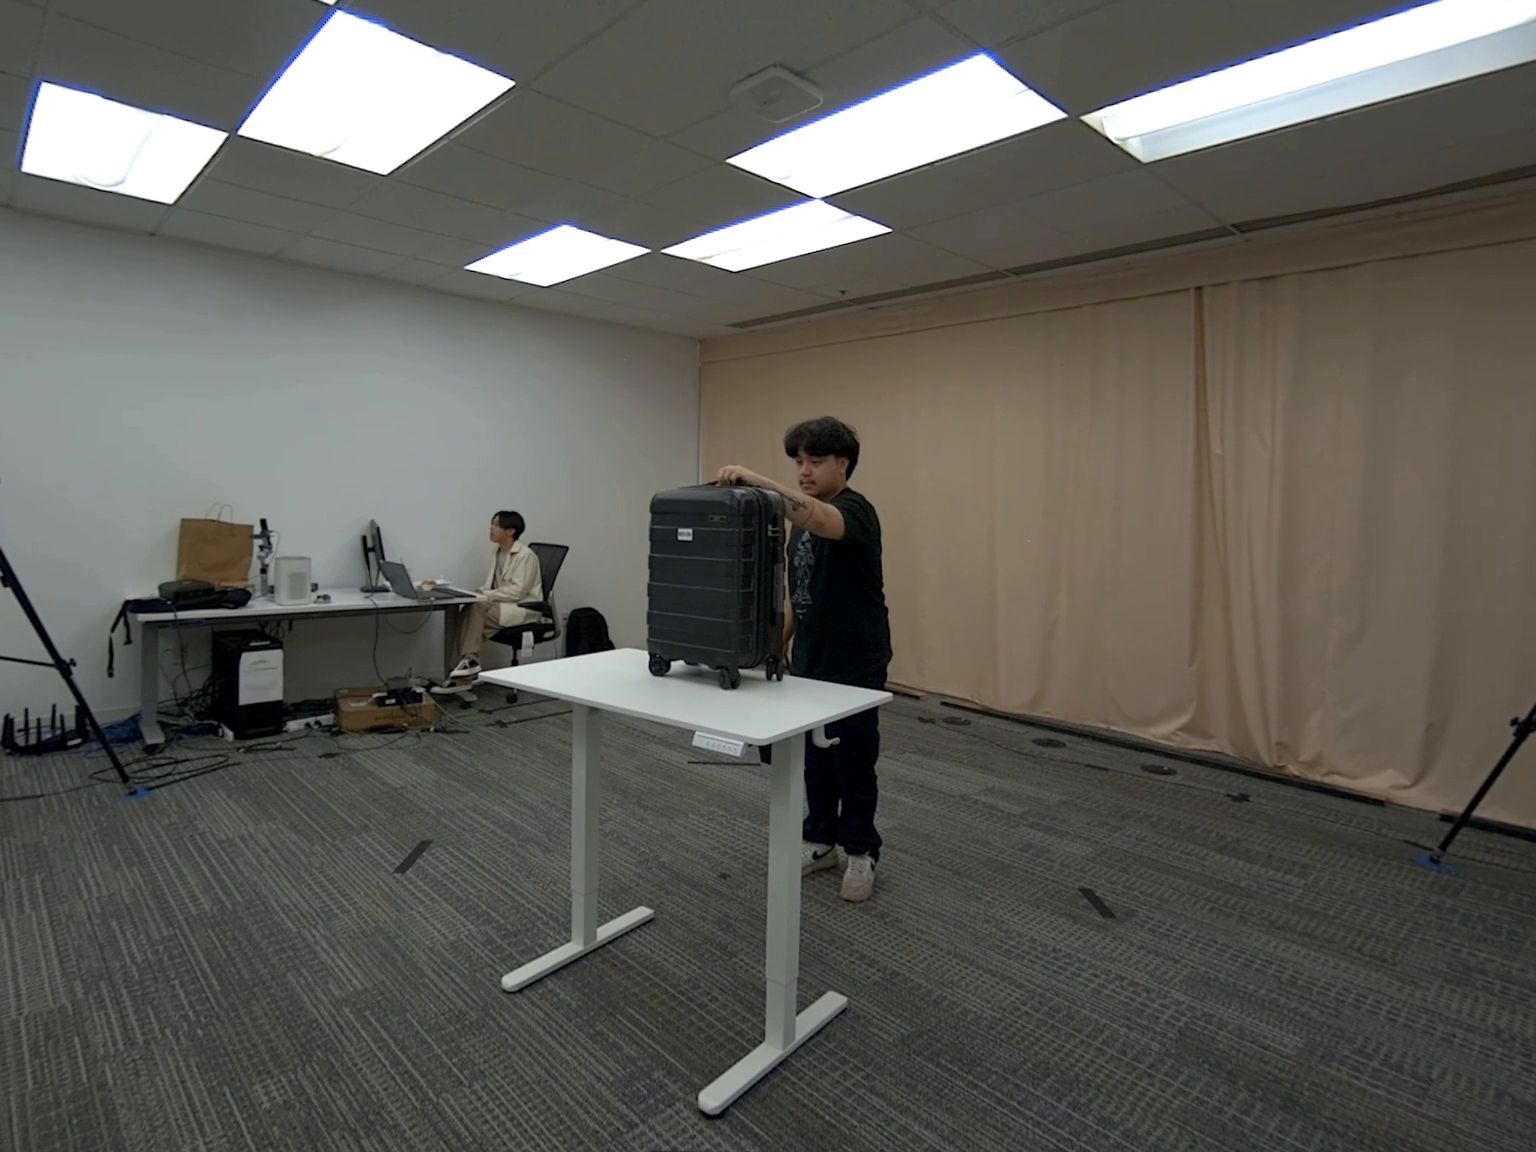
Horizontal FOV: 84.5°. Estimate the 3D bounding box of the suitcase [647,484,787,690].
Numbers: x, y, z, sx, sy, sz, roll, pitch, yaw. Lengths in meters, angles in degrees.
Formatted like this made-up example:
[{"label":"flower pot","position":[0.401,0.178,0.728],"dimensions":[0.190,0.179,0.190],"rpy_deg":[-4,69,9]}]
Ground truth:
[{"label":"suitcase","position":[-0.151,0.016,2.387],"dimensions":[0.384,0.548,0.243],"rpy_deg":[4,4,38]}]
